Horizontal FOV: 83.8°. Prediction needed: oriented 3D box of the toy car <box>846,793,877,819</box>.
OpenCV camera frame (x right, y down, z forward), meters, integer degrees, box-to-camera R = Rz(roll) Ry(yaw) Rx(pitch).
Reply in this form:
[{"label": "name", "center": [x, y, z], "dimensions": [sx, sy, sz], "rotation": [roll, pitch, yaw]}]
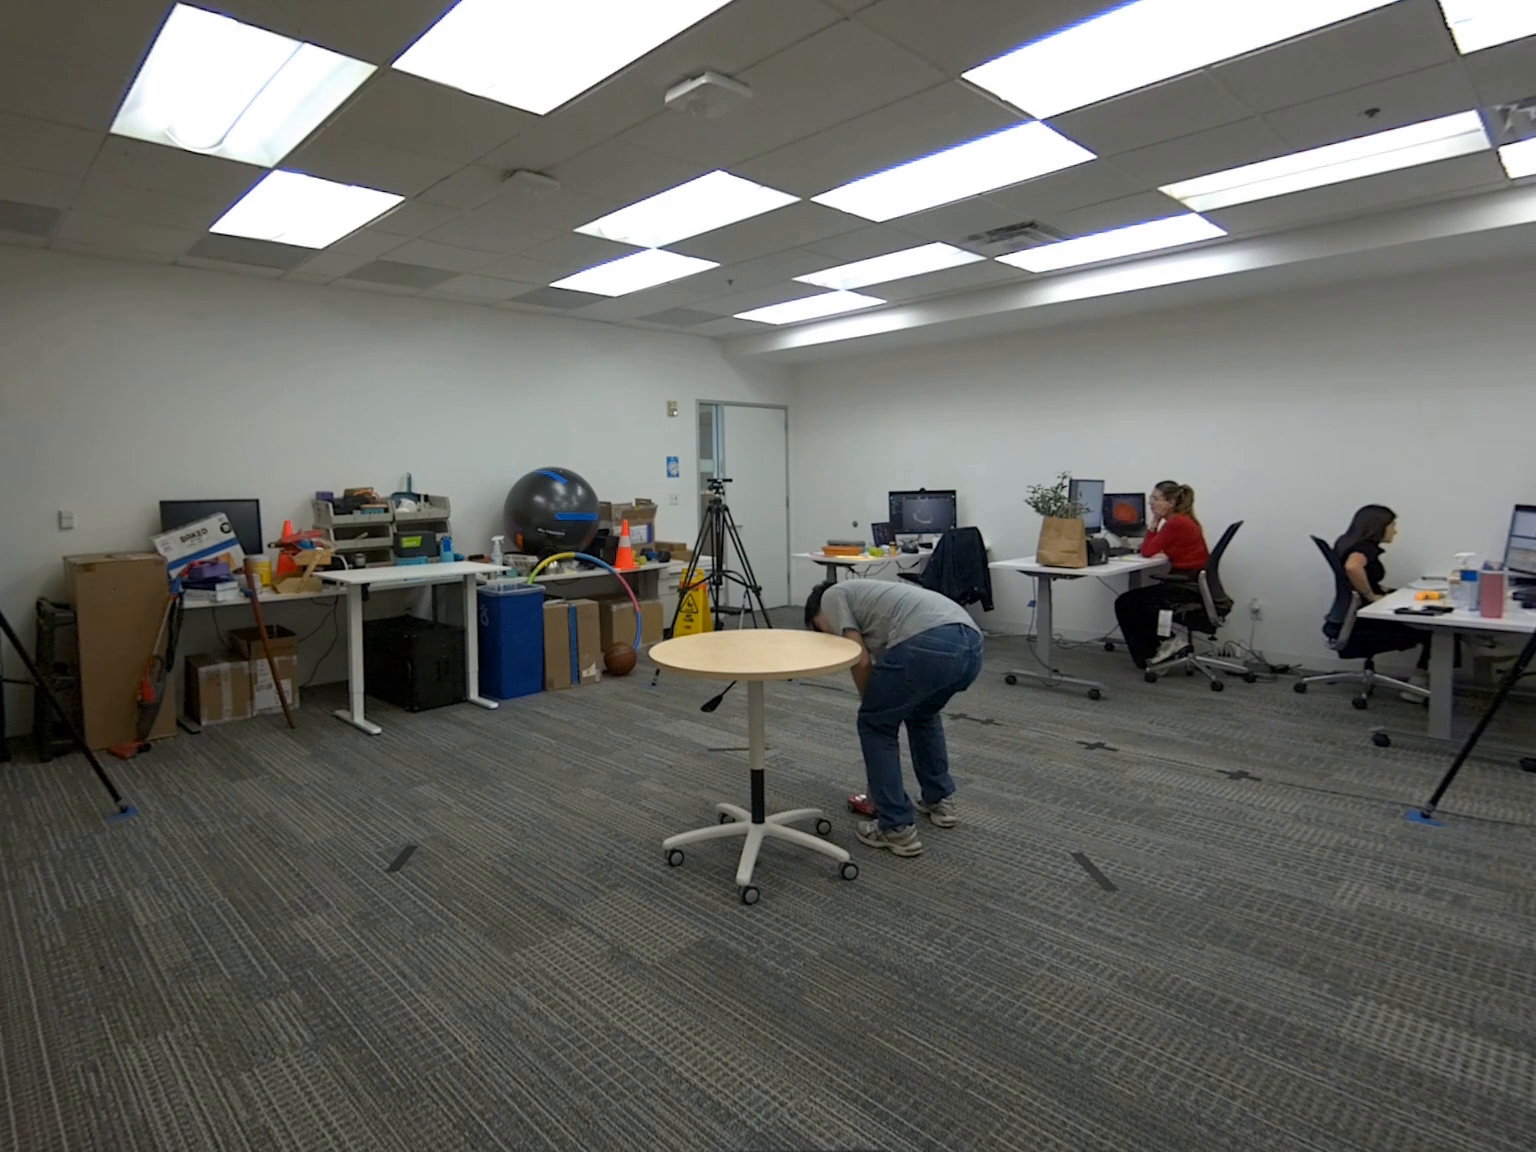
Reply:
[{"label": "toy car", "center": [0.458, 0.959, 3.546], "dimensions": [0.126, 0.083, 0.260], "rotation": [-1, -5, -42]}]
